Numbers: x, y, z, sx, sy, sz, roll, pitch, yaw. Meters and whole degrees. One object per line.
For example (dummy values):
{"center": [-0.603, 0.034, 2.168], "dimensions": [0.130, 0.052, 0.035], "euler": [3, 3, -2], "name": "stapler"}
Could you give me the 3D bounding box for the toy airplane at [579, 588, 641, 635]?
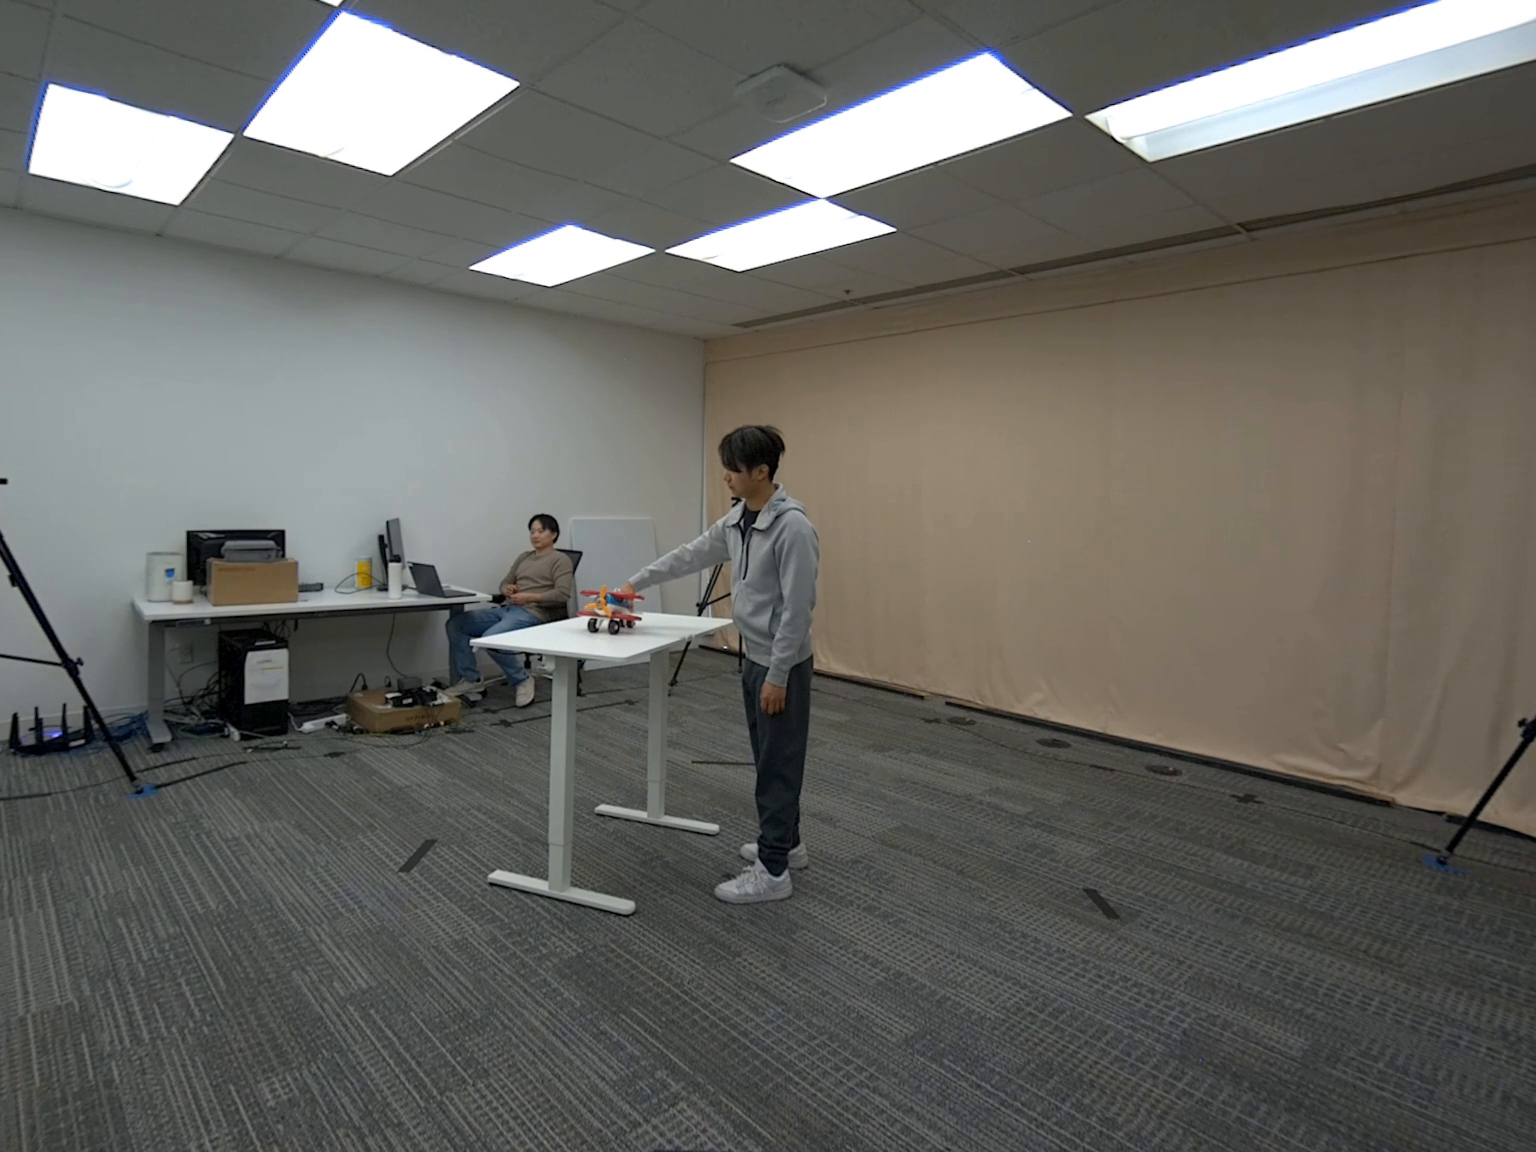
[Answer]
{"center": [-0.601, 0.130, 3.205], "dimensions": [0.249, 0.156, 0.261], "euler": [1, 4, -9], "name": "toy airplane"}
